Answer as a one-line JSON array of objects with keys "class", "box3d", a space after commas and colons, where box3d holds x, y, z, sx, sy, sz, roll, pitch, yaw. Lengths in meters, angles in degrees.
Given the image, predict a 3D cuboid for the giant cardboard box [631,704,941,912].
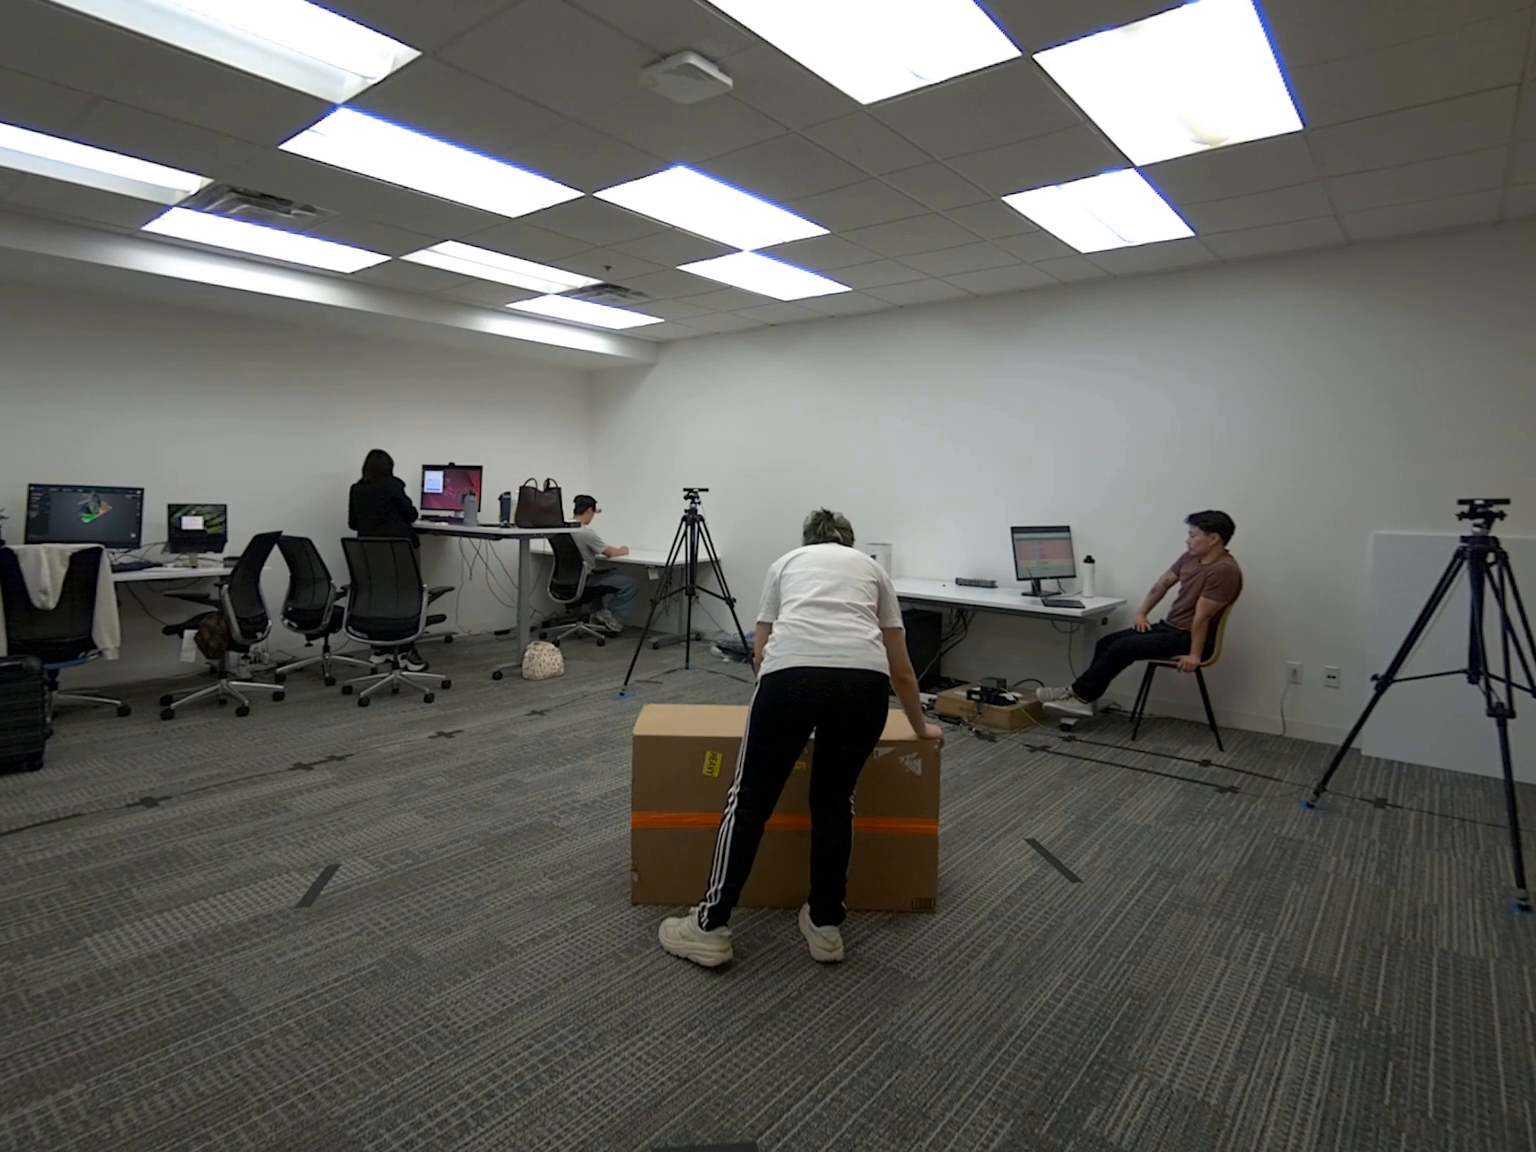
[{"class": "giant cardboard box", "box3d": [0.035, 0.796, 3.019, 1.026, 0.576, 0.427, 1, 3, 0]}]
